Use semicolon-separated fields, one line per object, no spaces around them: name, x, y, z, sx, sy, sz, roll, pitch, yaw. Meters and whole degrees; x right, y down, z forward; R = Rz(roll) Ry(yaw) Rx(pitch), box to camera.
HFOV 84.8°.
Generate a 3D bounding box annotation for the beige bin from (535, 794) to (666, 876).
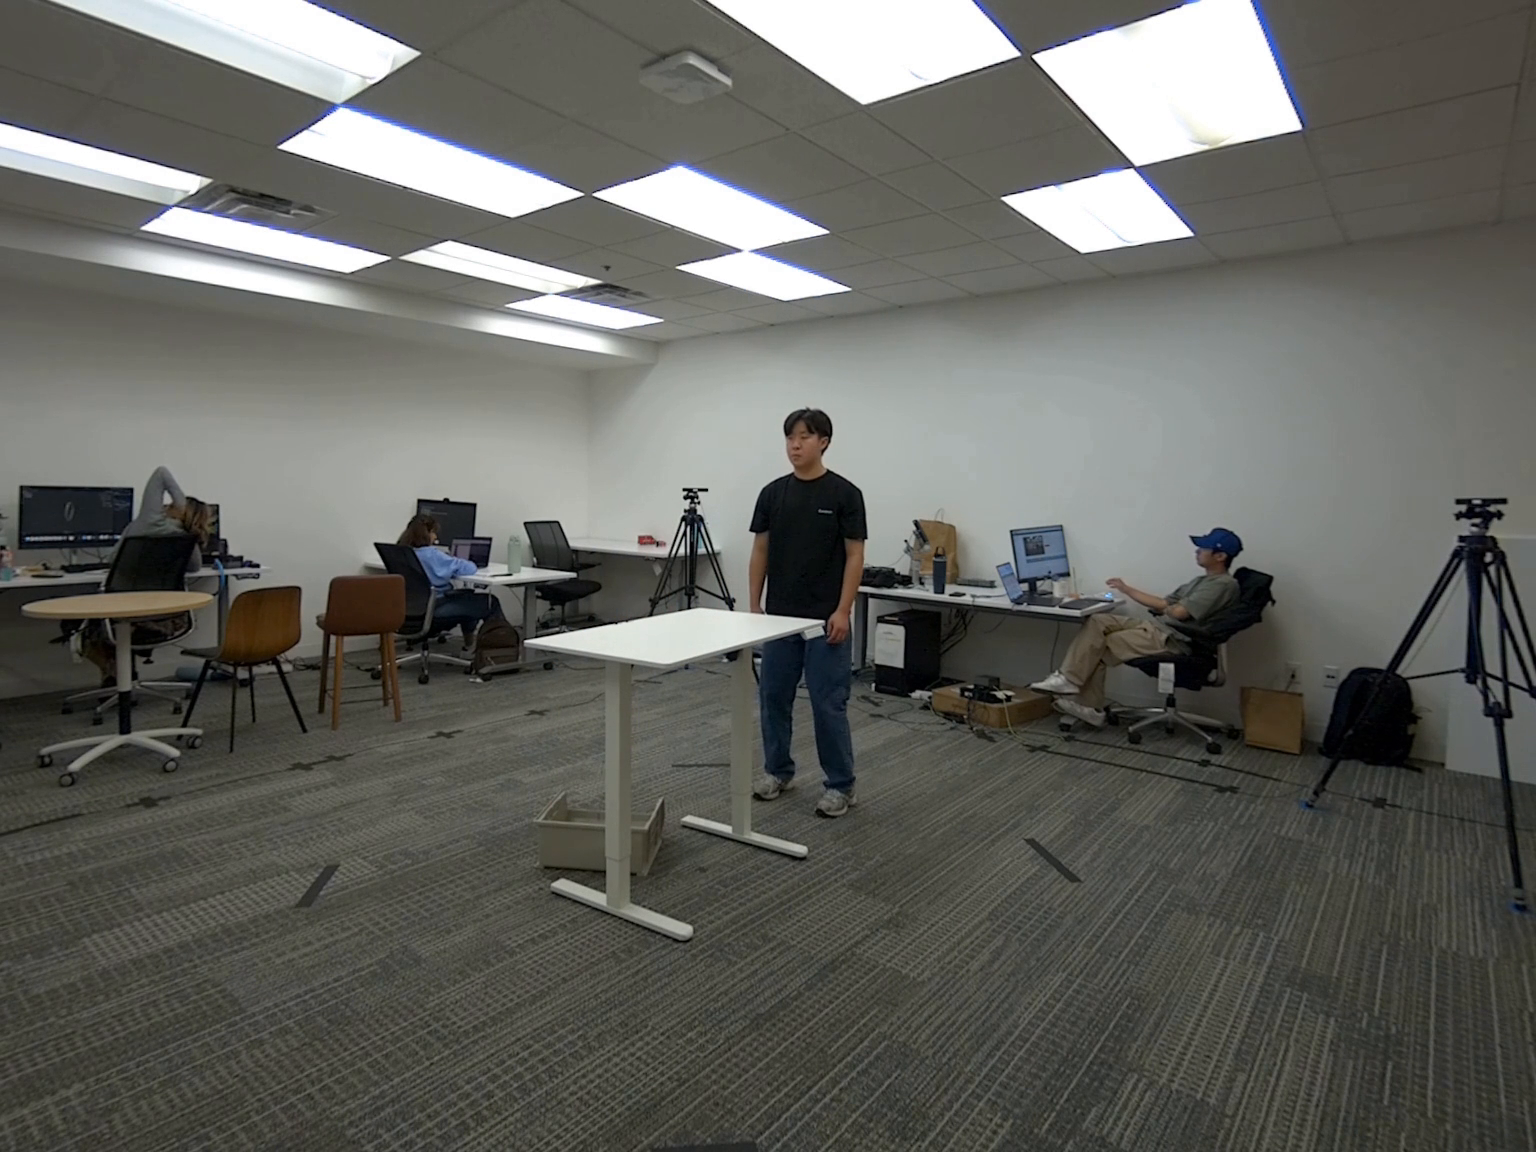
beige bin;-0.639;0.962;3.230;0.425;0.188;0.376;2;5;6
